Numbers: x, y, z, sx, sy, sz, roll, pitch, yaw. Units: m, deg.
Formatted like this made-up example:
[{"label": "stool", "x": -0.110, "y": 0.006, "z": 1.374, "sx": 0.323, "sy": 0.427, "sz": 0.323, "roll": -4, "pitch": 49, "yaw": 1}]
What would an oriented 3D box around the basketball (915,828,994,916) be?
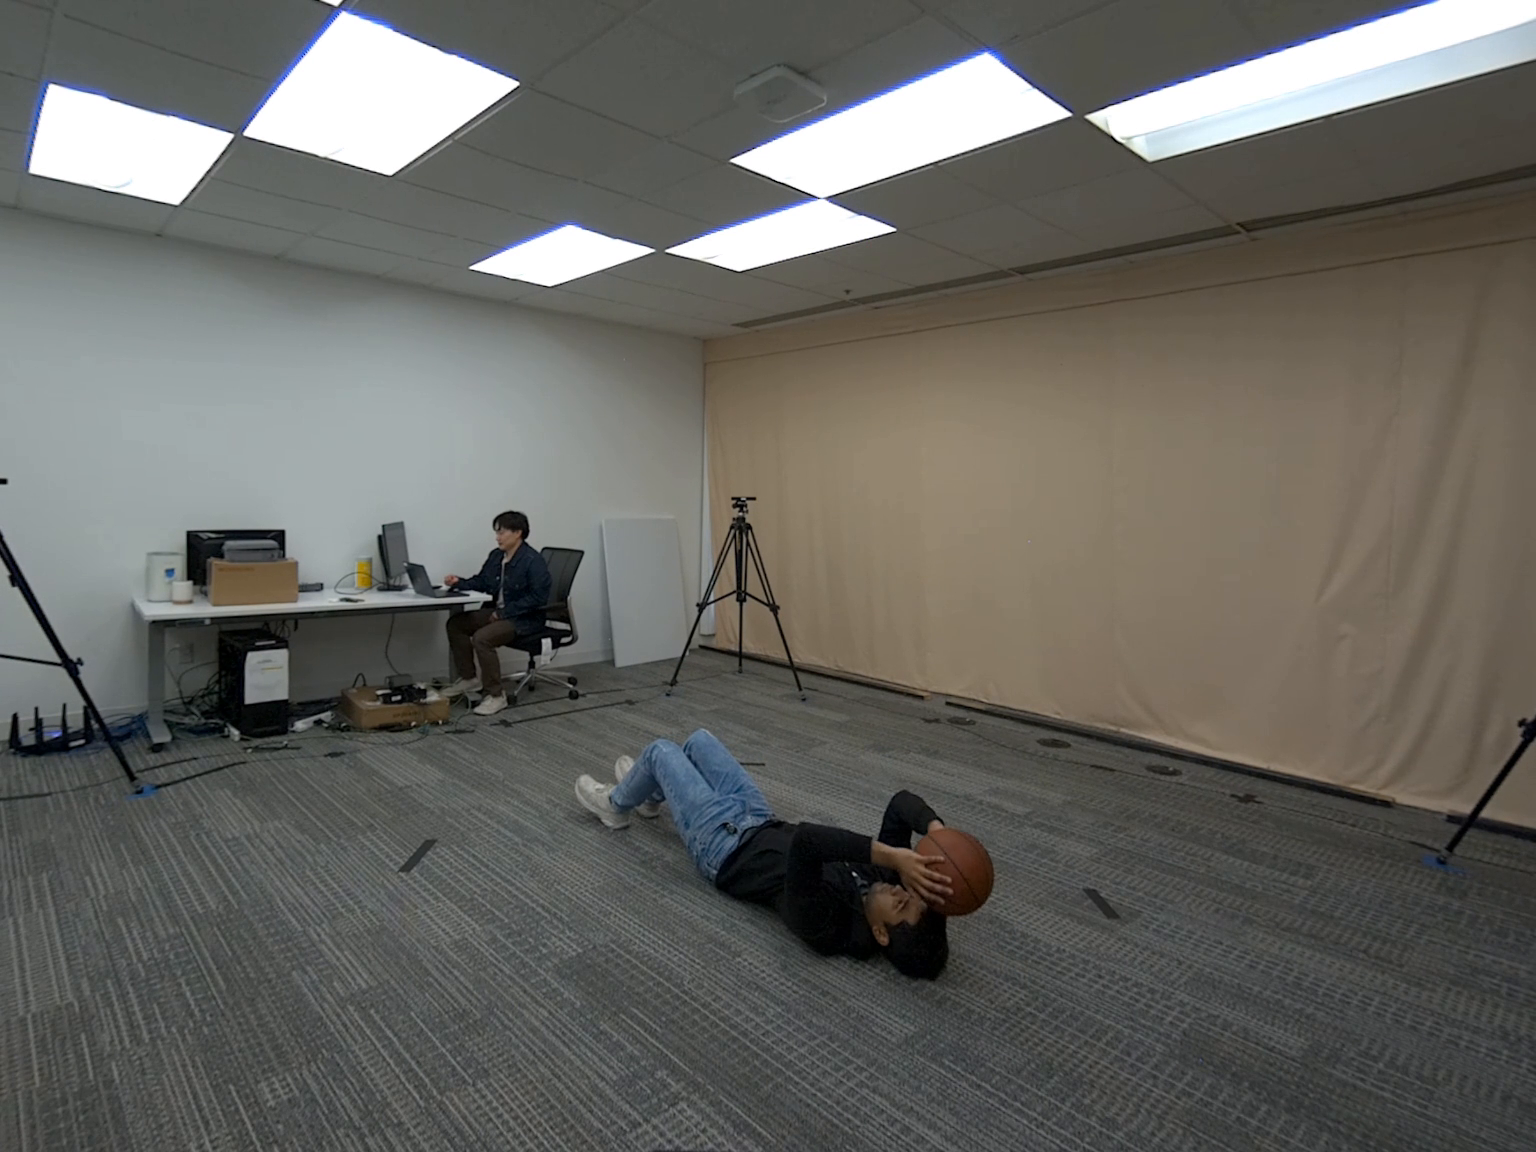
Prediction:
[{"label": "basketball", "x": 0.521, "y": 0.854, "z": 2.450, "sx": 0.236, "sy": 0.235, "sz": 0.237, "roll": 1, "pitch": 4, "yaw": -1}]
